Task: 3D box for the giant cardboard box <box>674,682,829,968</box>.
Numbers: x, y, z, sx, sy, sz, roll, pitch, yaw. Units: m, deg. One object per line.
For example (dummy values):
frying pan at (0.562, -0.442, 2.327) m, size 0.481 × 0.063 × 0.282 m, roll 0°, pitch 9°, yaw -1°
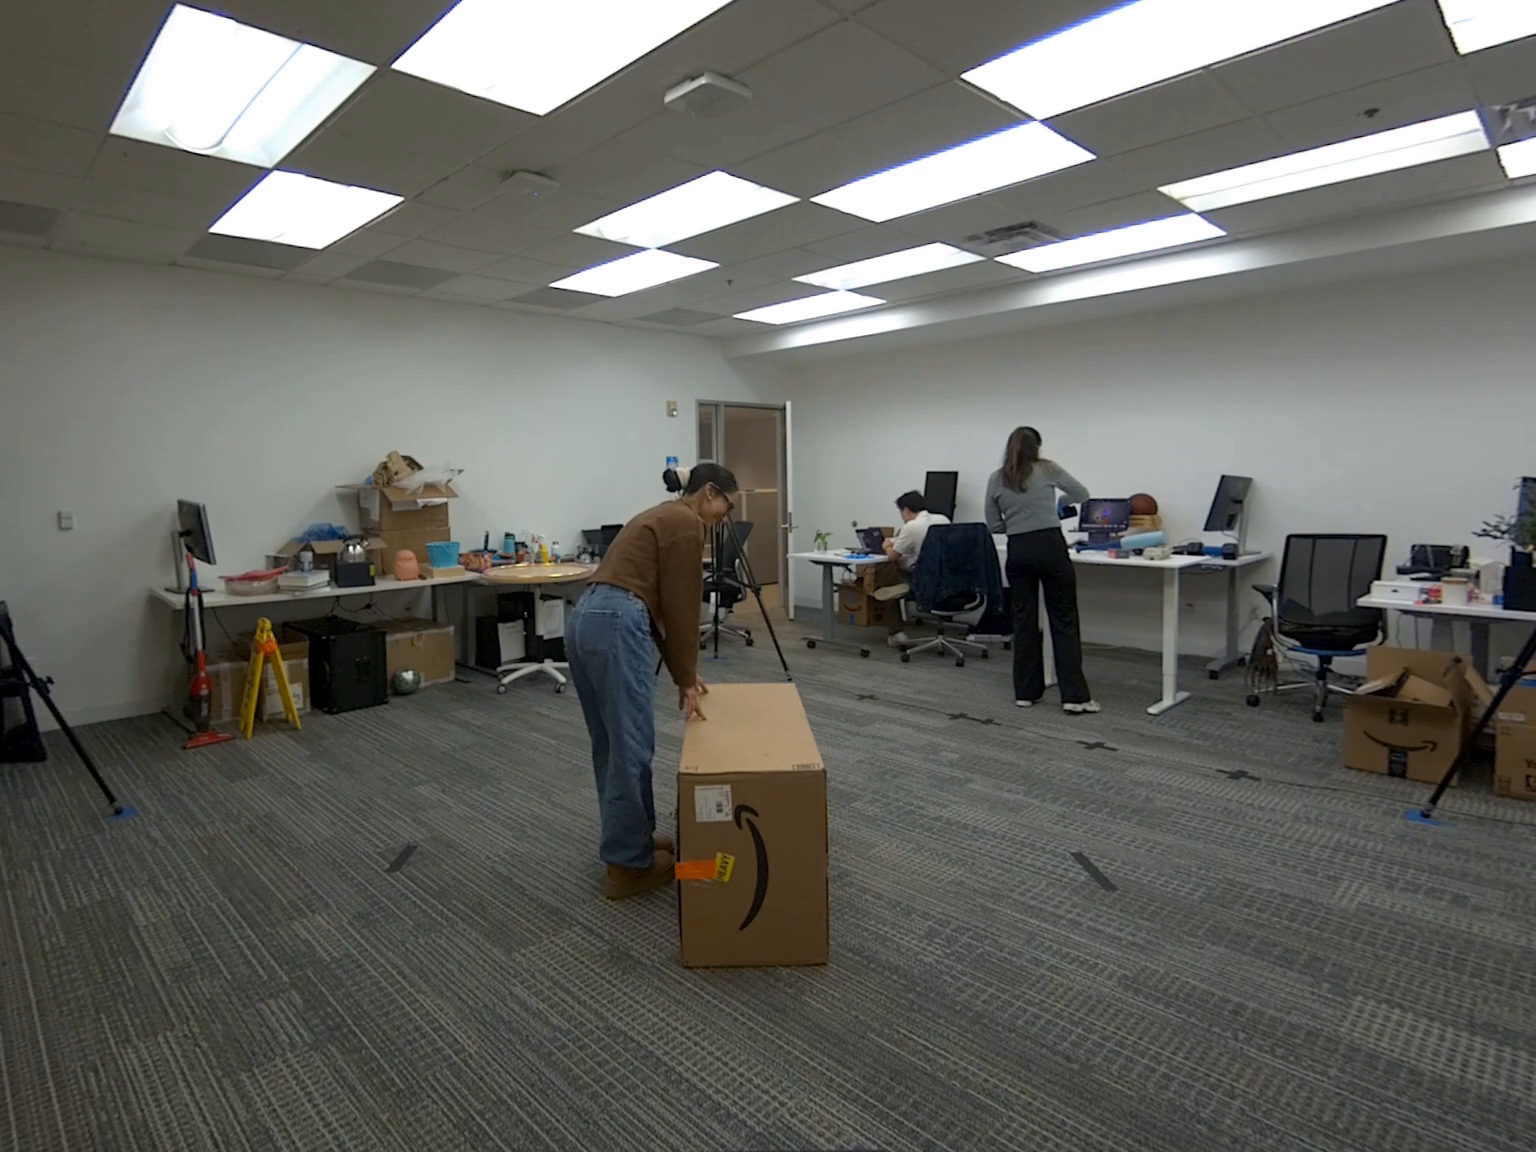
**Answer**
giant cardboard box at (-0.068, 0.779, 2.938) m, size 0.446 × 0.581 × 1.032 m, roll 0°, pitch 6°, yaw -2°
